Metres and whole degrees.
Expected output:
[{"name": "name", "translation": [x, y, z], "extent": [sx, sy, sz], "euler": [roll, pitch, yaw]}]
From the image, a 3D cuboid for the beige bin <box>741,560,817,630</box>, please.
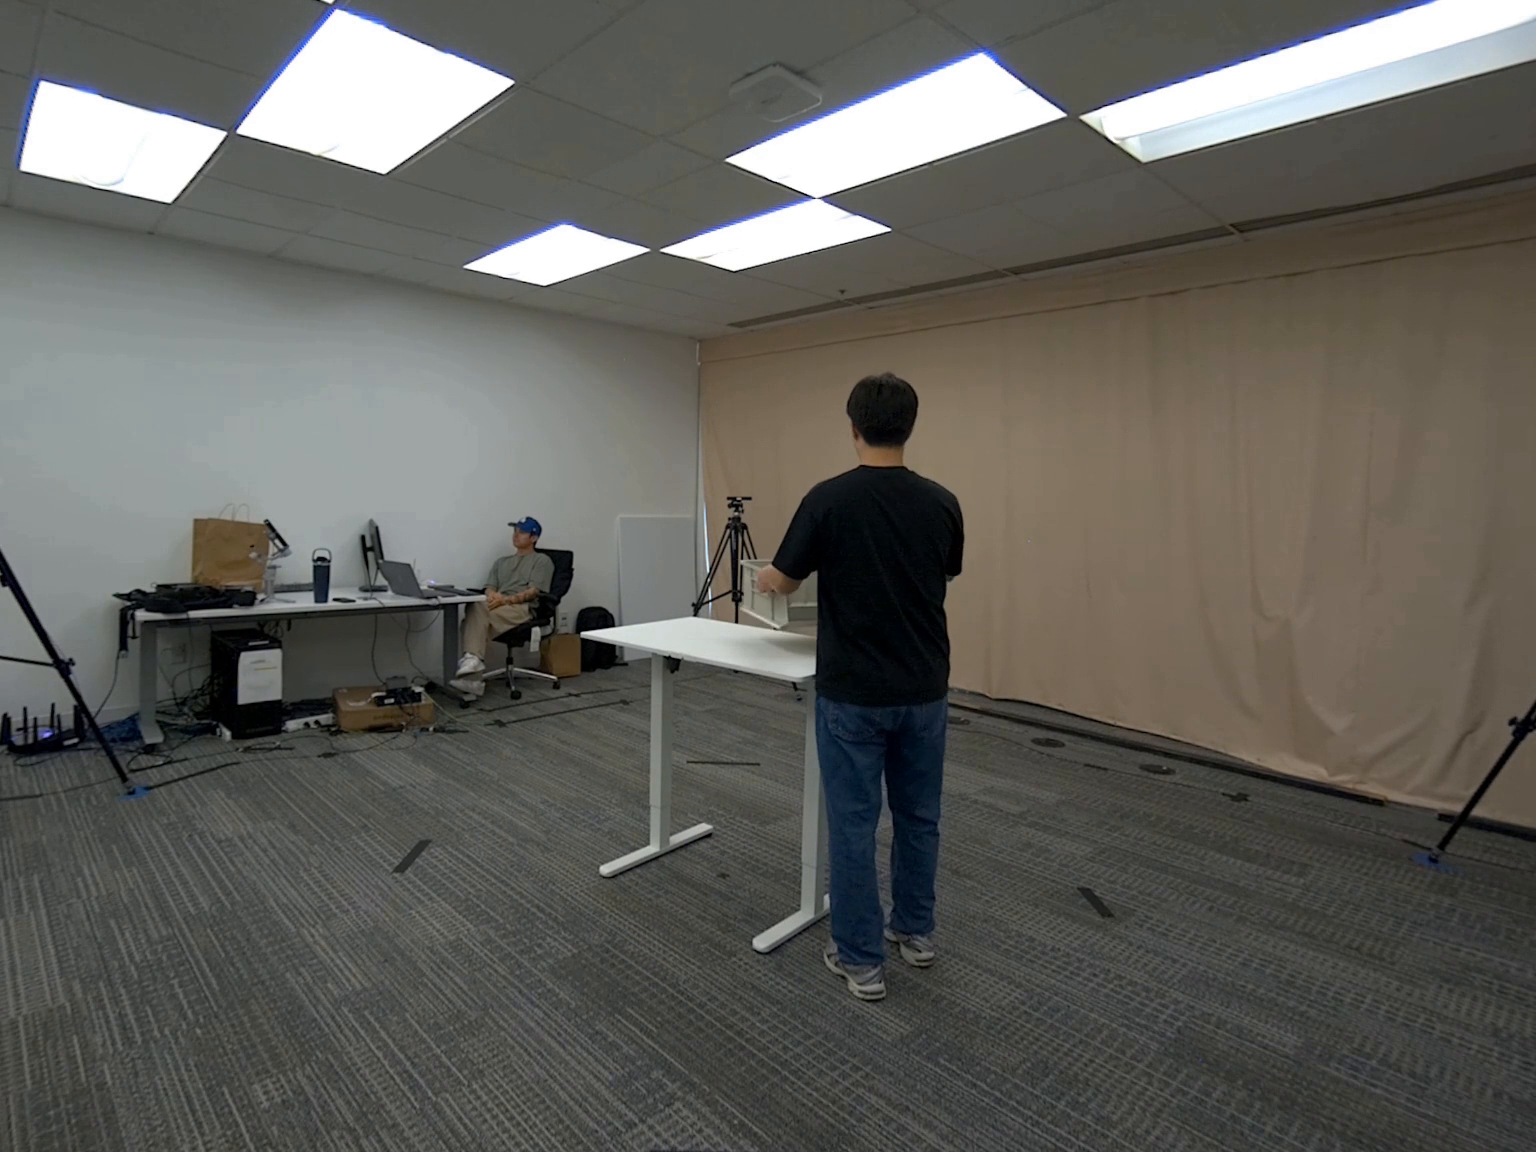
[{"name": "beige bin", "translation": [0.159, 0.066, 2.953], "extent": [0.415, 0.188, 0.386], "euler": [-2, 10, -23]}]
